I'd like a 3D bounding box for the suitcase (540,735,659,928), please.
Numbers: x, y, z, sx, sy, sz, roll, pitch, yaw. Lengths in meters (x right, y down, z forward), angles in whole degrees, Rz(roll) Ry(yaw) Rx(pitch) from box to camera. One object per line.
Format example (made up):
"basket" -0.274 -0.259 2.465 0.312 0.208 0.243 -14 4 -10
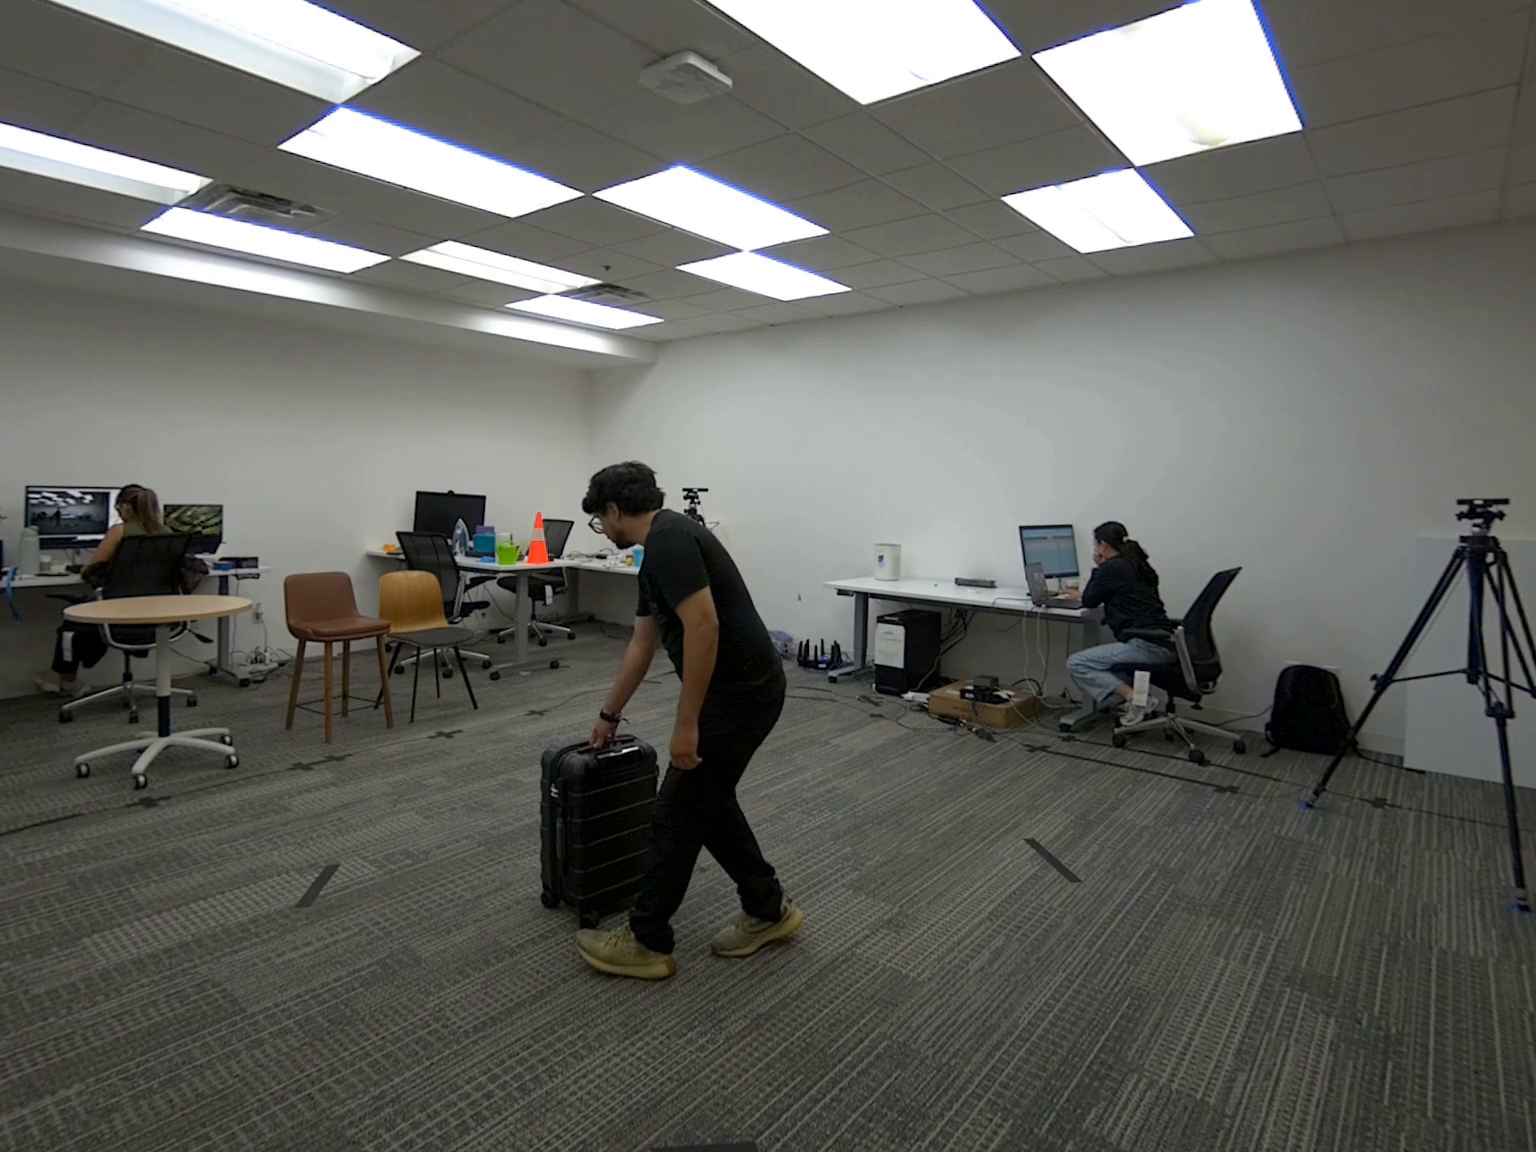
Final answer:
"suitcase" -0.572 0.818 2.847 0.256 0.549 0.364 -2 1 43
